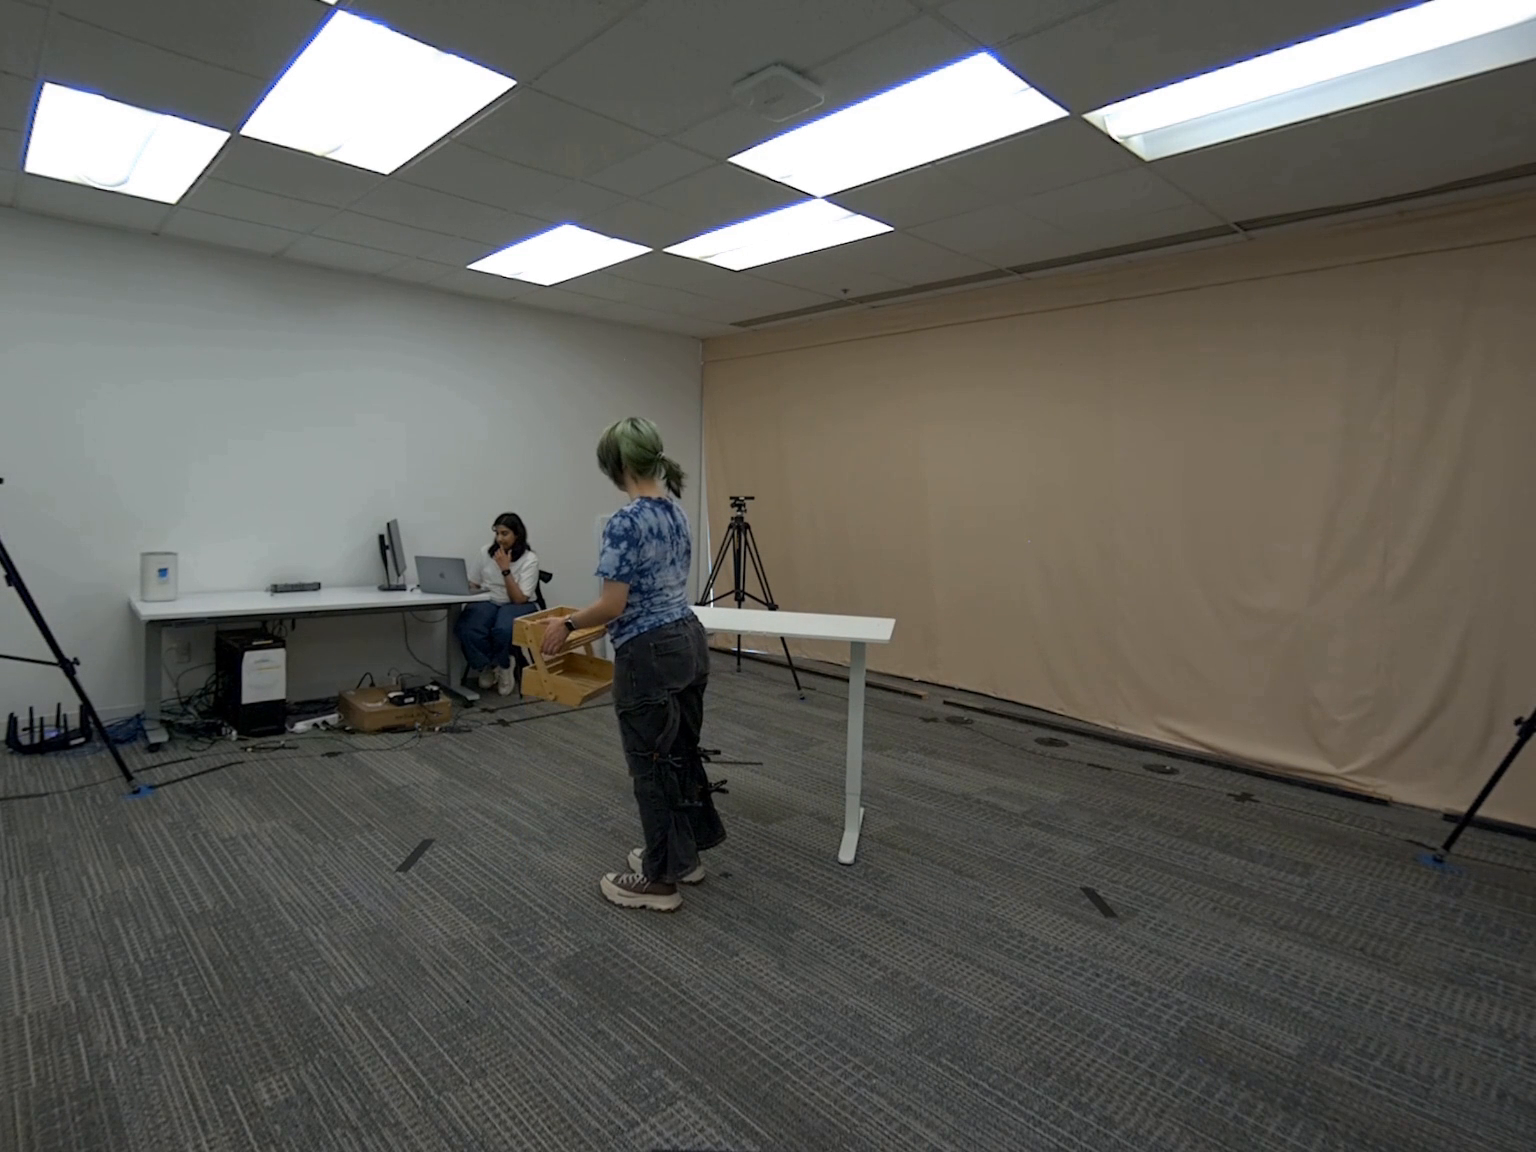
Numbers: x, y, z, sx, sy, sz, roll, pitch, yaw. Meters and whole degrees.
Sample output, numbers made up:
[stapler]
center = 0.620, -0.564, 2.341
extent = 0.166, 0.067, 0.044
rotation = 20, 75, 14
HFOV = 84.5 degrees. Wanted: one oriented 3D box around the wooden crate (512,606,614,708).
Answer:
[wooden crate]
center = -0.684, 0.285, 3.036
extent = 0.305, 0.272, 0.323
rotation = 7, 7, 10
